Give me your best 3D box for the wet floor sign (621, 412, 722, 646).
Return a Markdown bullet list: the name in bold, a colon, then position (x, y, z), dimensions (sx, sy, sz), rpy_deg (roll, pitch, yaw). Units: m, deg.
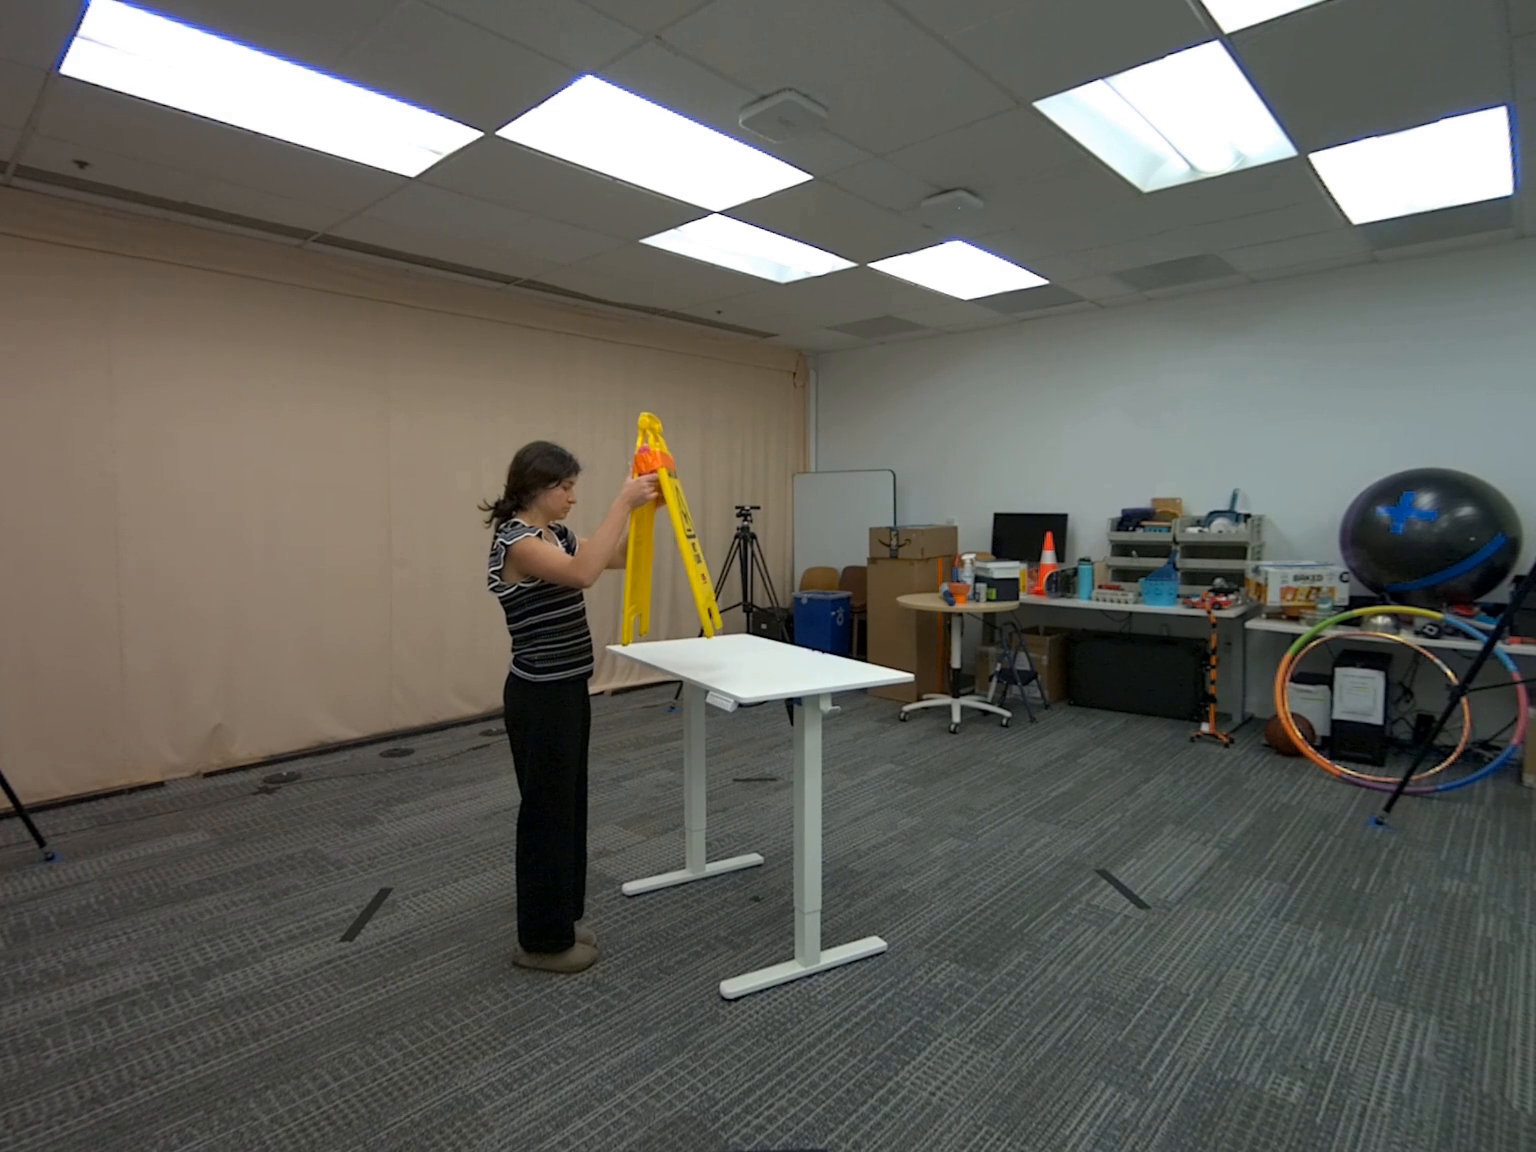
- **wet floor sign**: position (-0.313, -0.140, 2.455), dimensions (0.292, 0.645, 0.281), rpy_deg (-5, 1, 5)
